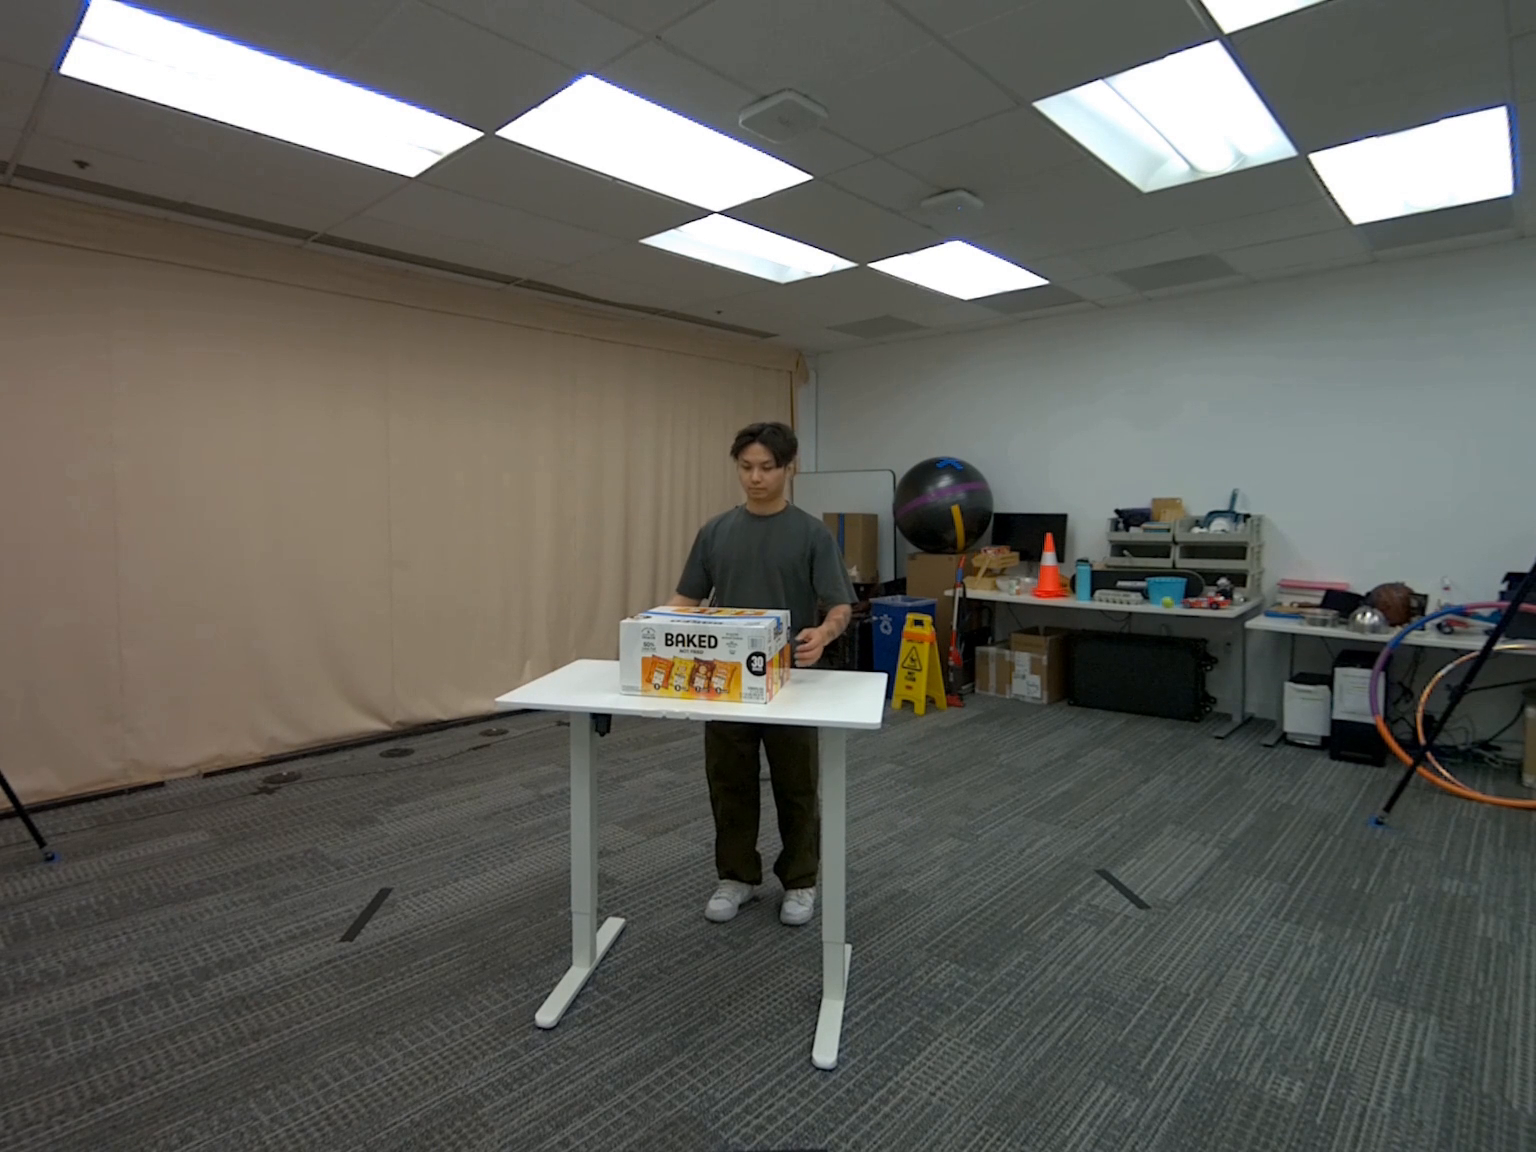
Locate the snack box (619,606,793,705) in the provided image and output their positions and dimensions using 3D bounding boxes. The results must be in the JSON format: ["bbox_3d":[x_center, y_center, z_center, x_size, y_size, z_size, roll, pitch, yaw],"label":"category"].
[{"bbox_3d":[-0.167,0.213,2.383,0.412,0.205,0.336,1,4,14],"label":"snack box"}]
